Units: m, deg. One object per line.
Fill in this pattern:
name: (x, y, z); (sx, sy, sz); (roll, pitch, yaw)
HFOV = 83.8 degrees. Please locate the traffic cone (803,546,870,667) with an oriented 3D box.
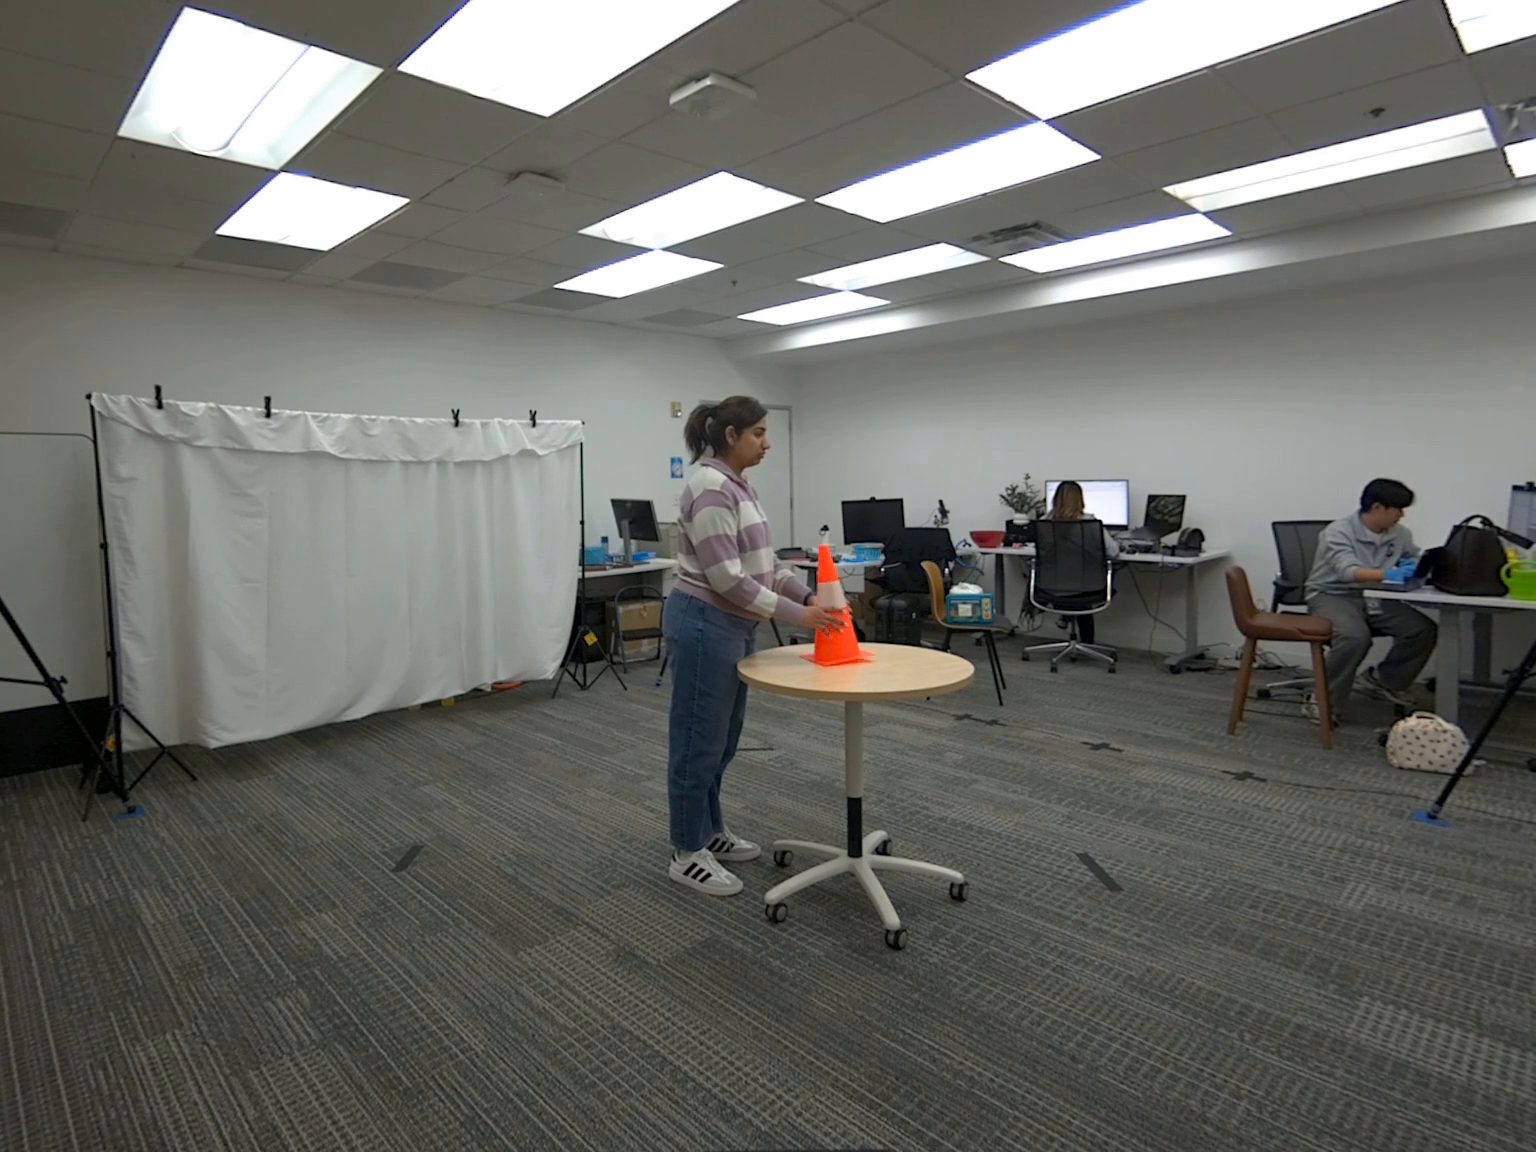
traffic cone: (0.206, 0.083, 2.884); (0.200, 0.383, 0.208); (-9, 3, -37)
